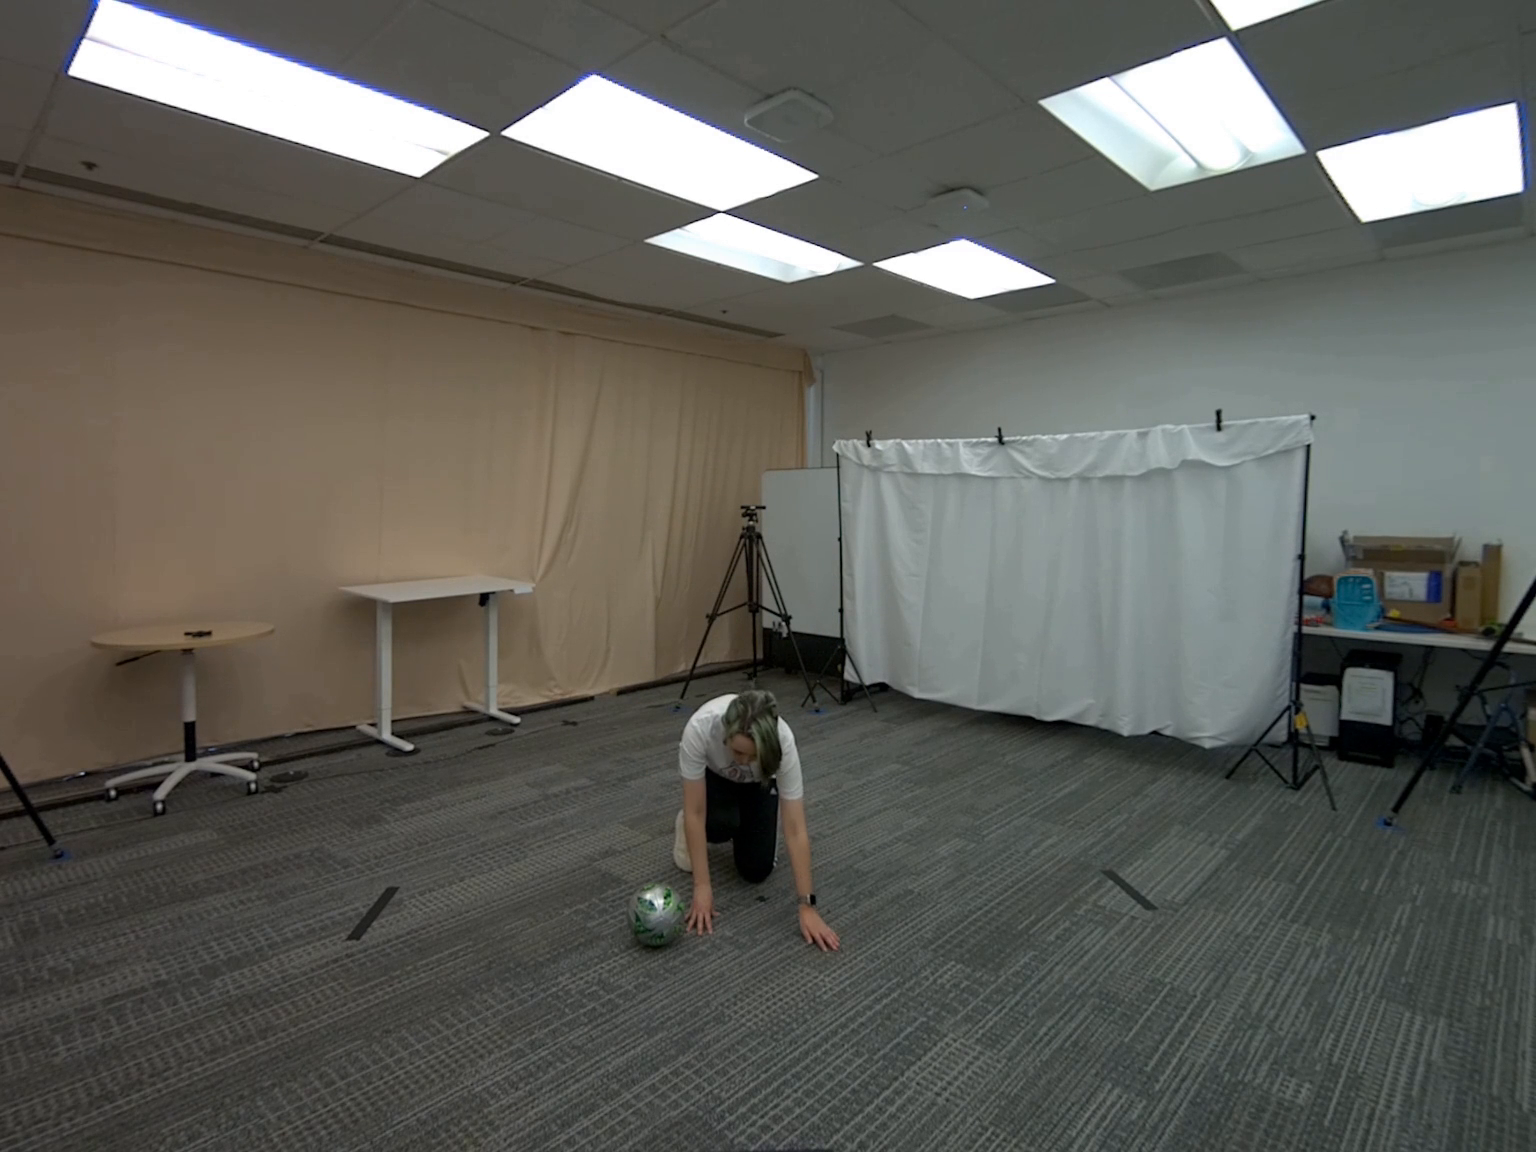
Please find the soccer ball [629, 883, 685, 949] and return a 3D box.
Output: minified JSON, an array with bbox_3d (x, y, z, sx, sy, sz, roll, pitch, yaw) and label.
[{"bbox_3d":[-0.360,1.072,2.685,0.187,0.187,0.188,0,4,-2],"label":"soccer ball"}]
